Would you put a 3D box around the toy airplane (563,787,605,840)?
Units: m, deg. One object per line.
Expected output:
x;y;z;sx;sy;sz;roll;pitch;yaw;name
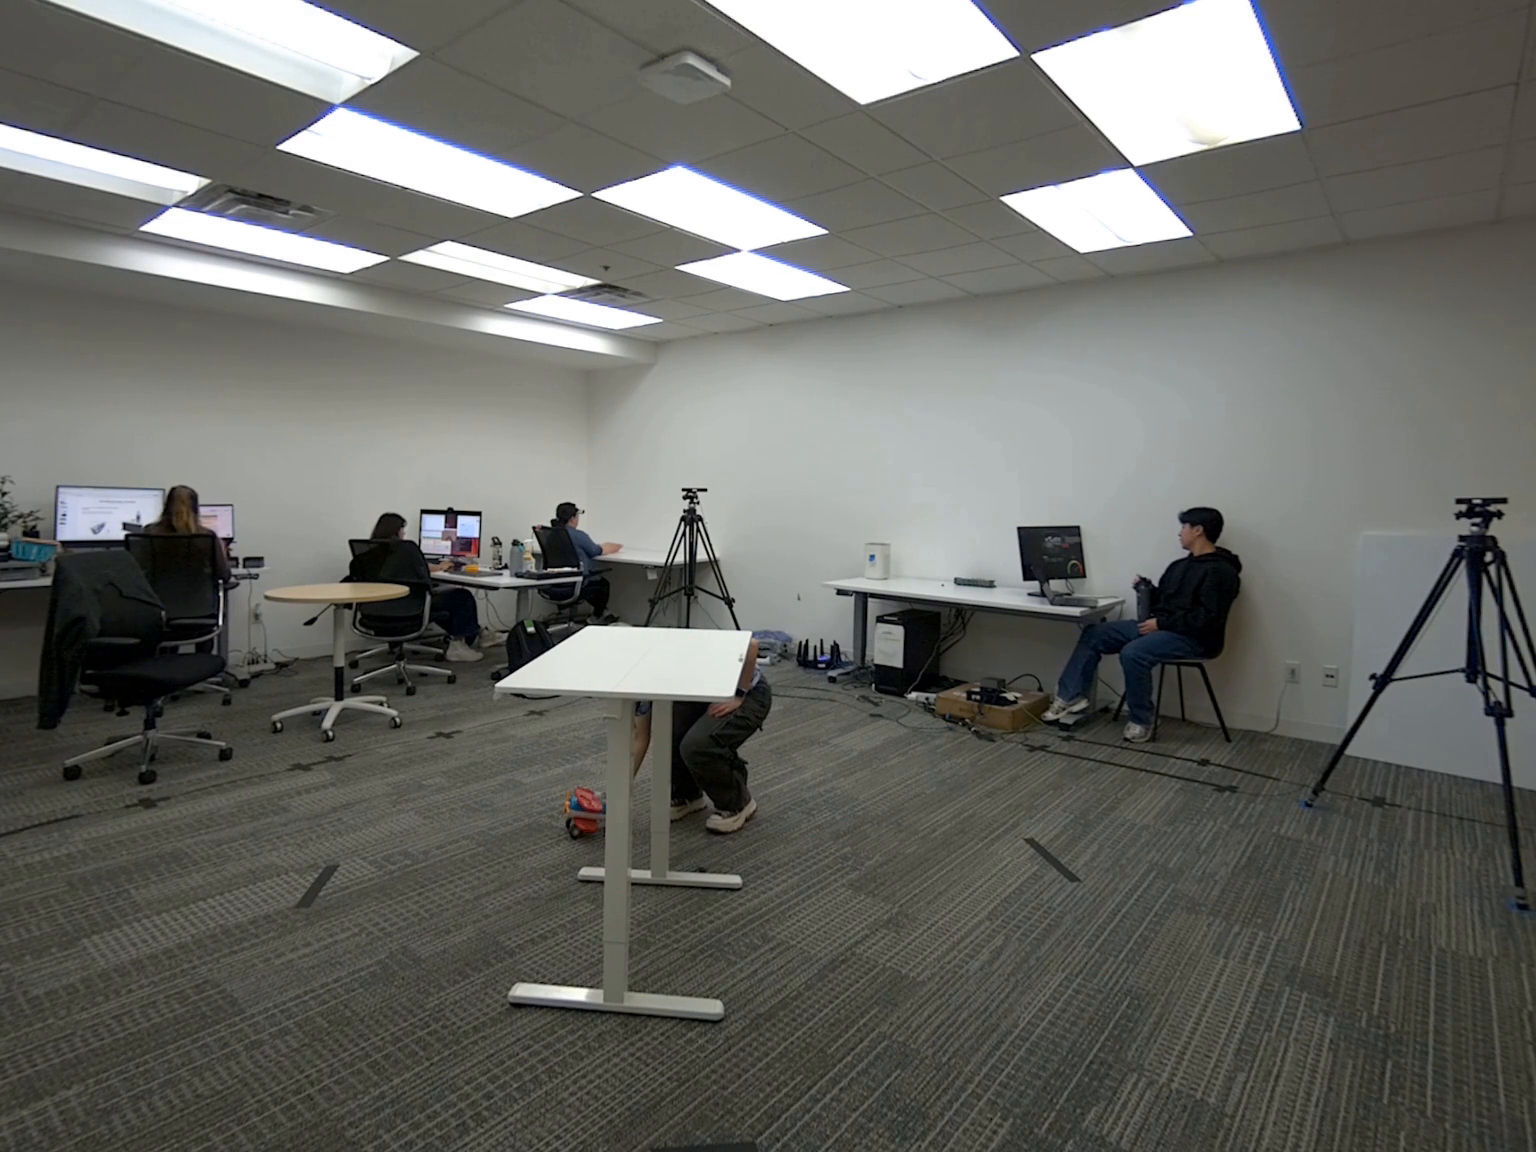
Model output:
-0.719;0.959;3.458;0.260;0.156;0.251;6;7;42;toy airplane
